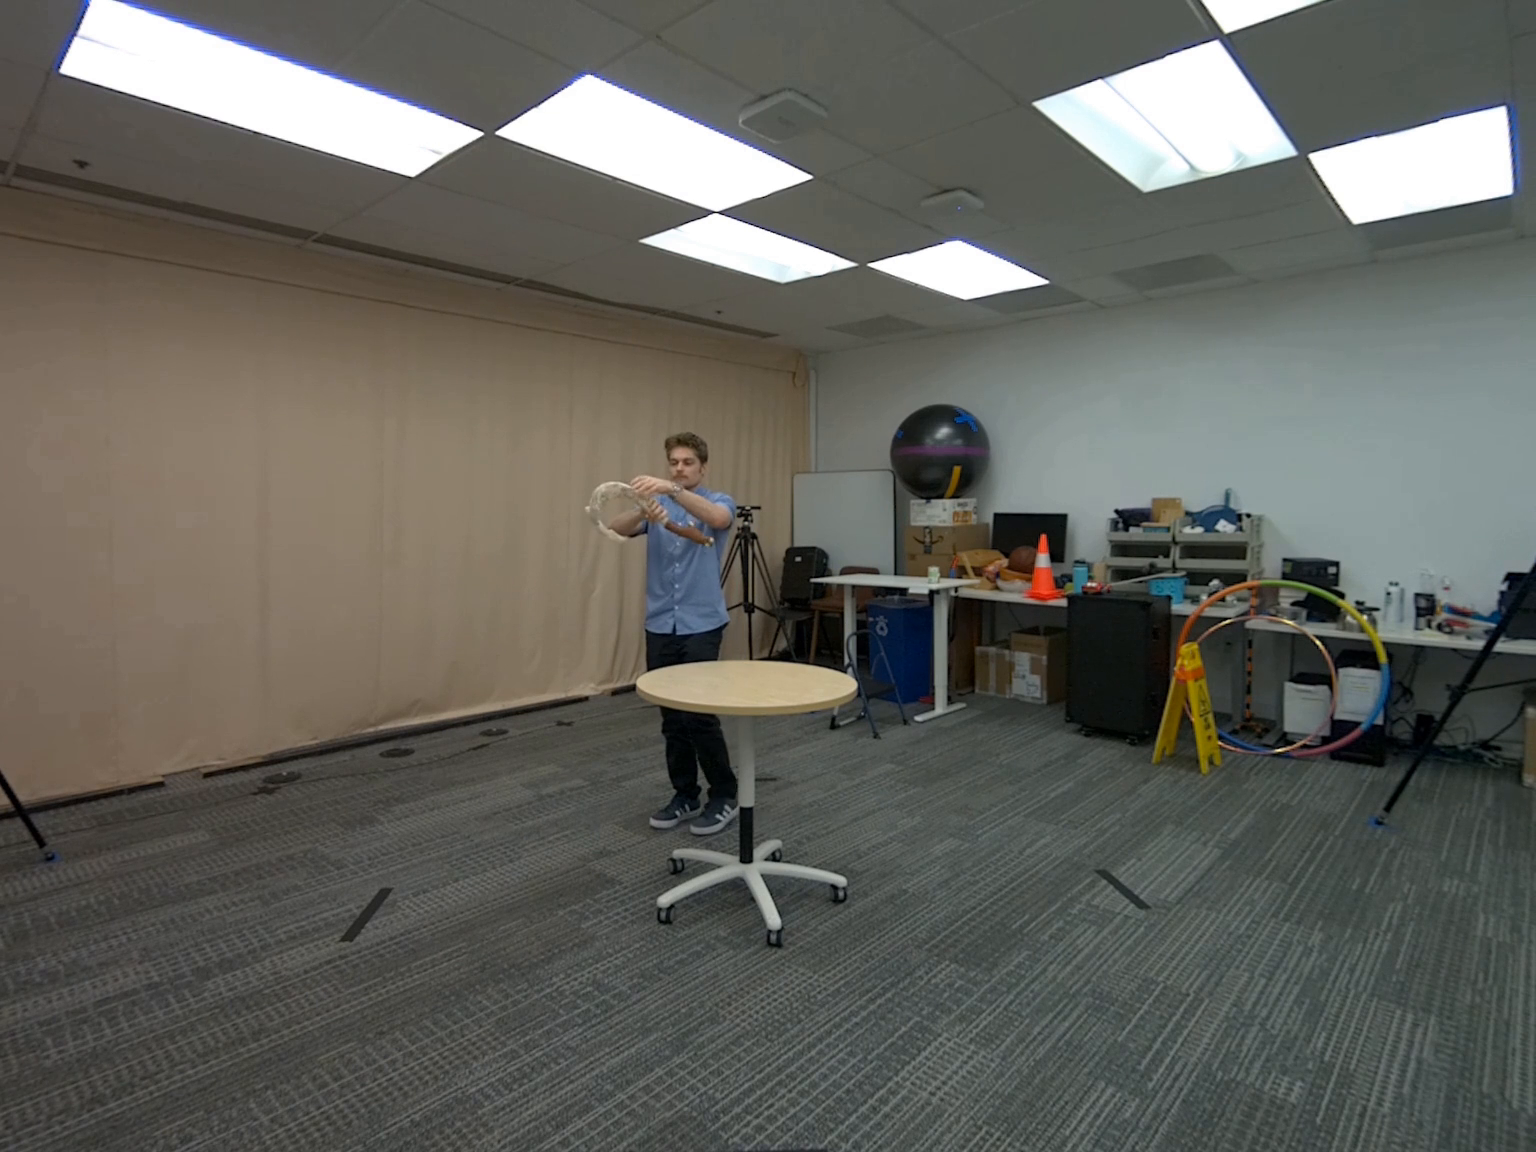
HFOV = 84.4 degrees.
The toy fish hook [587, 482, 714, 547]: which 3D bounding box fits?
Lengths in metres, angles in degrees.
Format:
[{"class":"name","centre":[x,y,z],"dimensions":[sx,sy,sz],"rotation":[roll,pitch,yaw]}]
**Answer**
[{"class":"toy fish hook","centre":[-0.460,-0.186,3.289],"dimensions":[0.502,0.225,0.048],"rotation":[26,-6,-6]}]
